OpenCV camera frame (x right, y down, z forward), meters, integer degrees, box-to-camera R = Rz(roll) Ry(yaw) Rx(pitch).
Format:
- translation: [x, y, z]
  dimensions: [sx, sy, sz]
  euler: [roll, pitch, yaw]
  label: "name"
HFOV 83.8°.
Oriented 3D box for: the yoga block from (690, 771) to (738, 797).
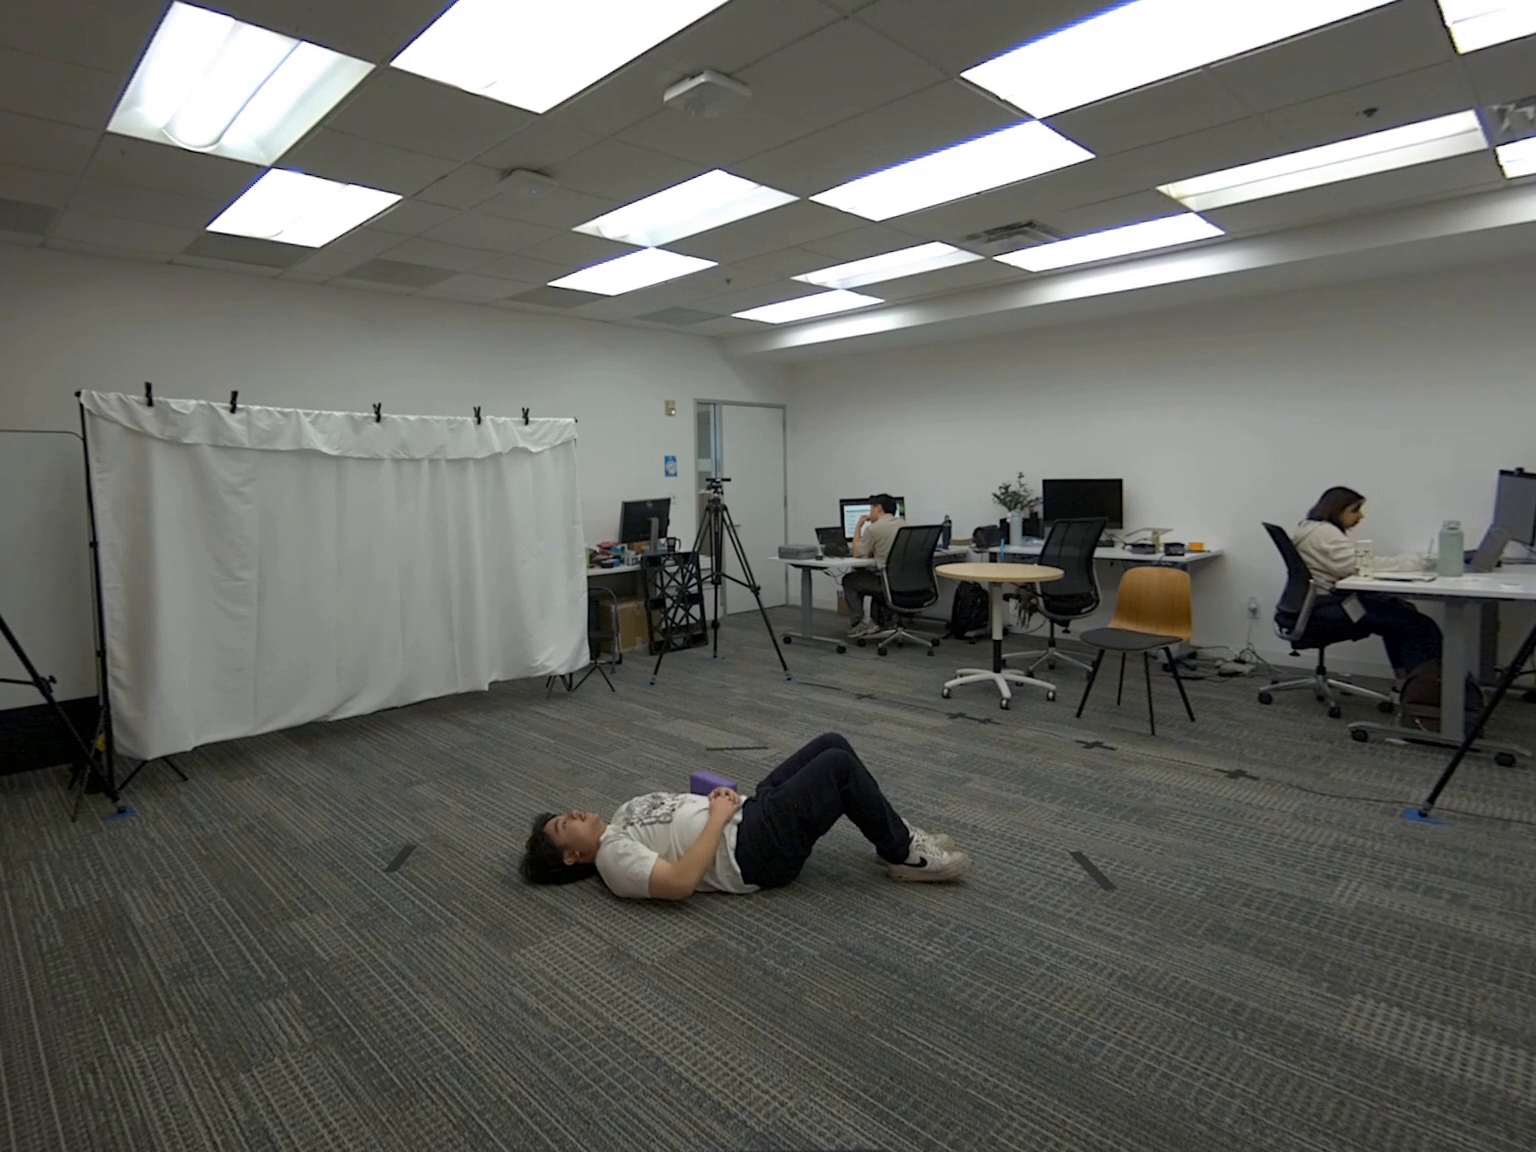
- translation: [-0.225, 0.917, 3.578]
  dimensions: [0.074, 0.148, 0.236]
  euler: [-4, 6, -44]
  label: "yoga block"
